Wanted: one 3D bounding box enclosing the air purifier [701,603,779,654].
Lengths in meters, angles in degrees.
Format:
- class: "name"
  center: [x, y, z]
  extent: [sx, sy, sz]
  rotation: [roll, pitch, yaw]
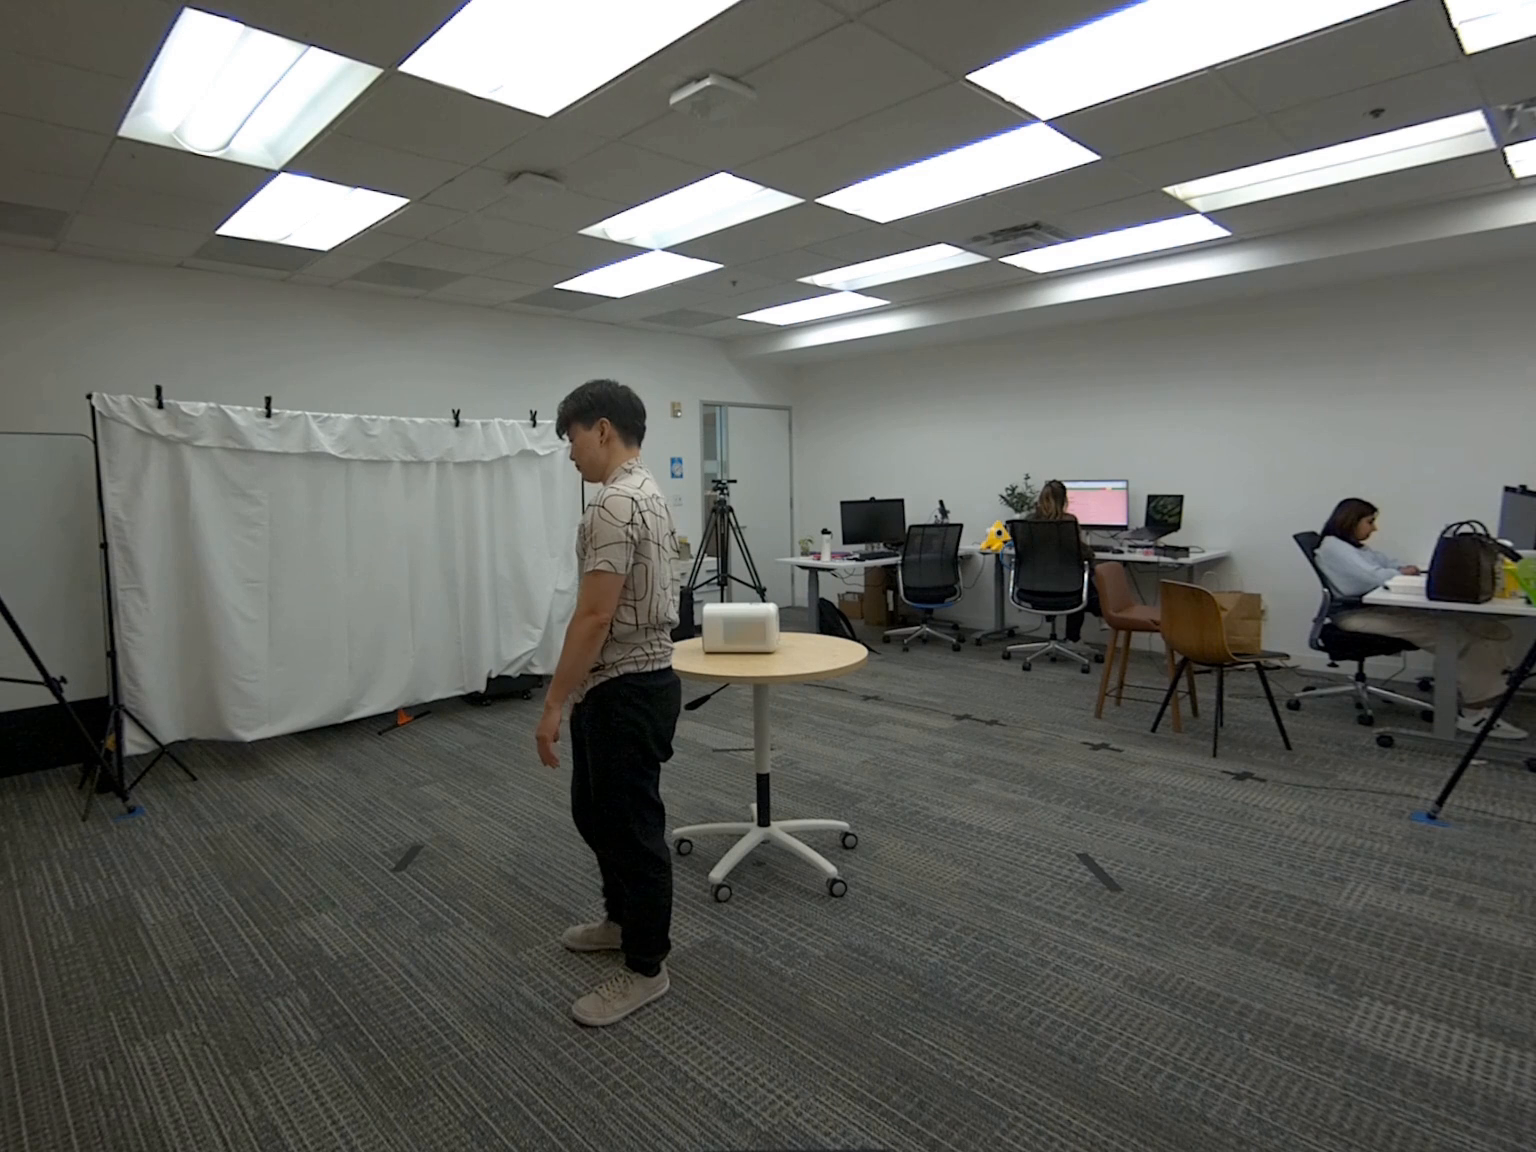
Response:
- class: "air purifier"
  center: [-0.092, 0.183, 3.090]
  extent: [0.267, 0.171, 0.170]
  rotation: [-1, 5, 7]
